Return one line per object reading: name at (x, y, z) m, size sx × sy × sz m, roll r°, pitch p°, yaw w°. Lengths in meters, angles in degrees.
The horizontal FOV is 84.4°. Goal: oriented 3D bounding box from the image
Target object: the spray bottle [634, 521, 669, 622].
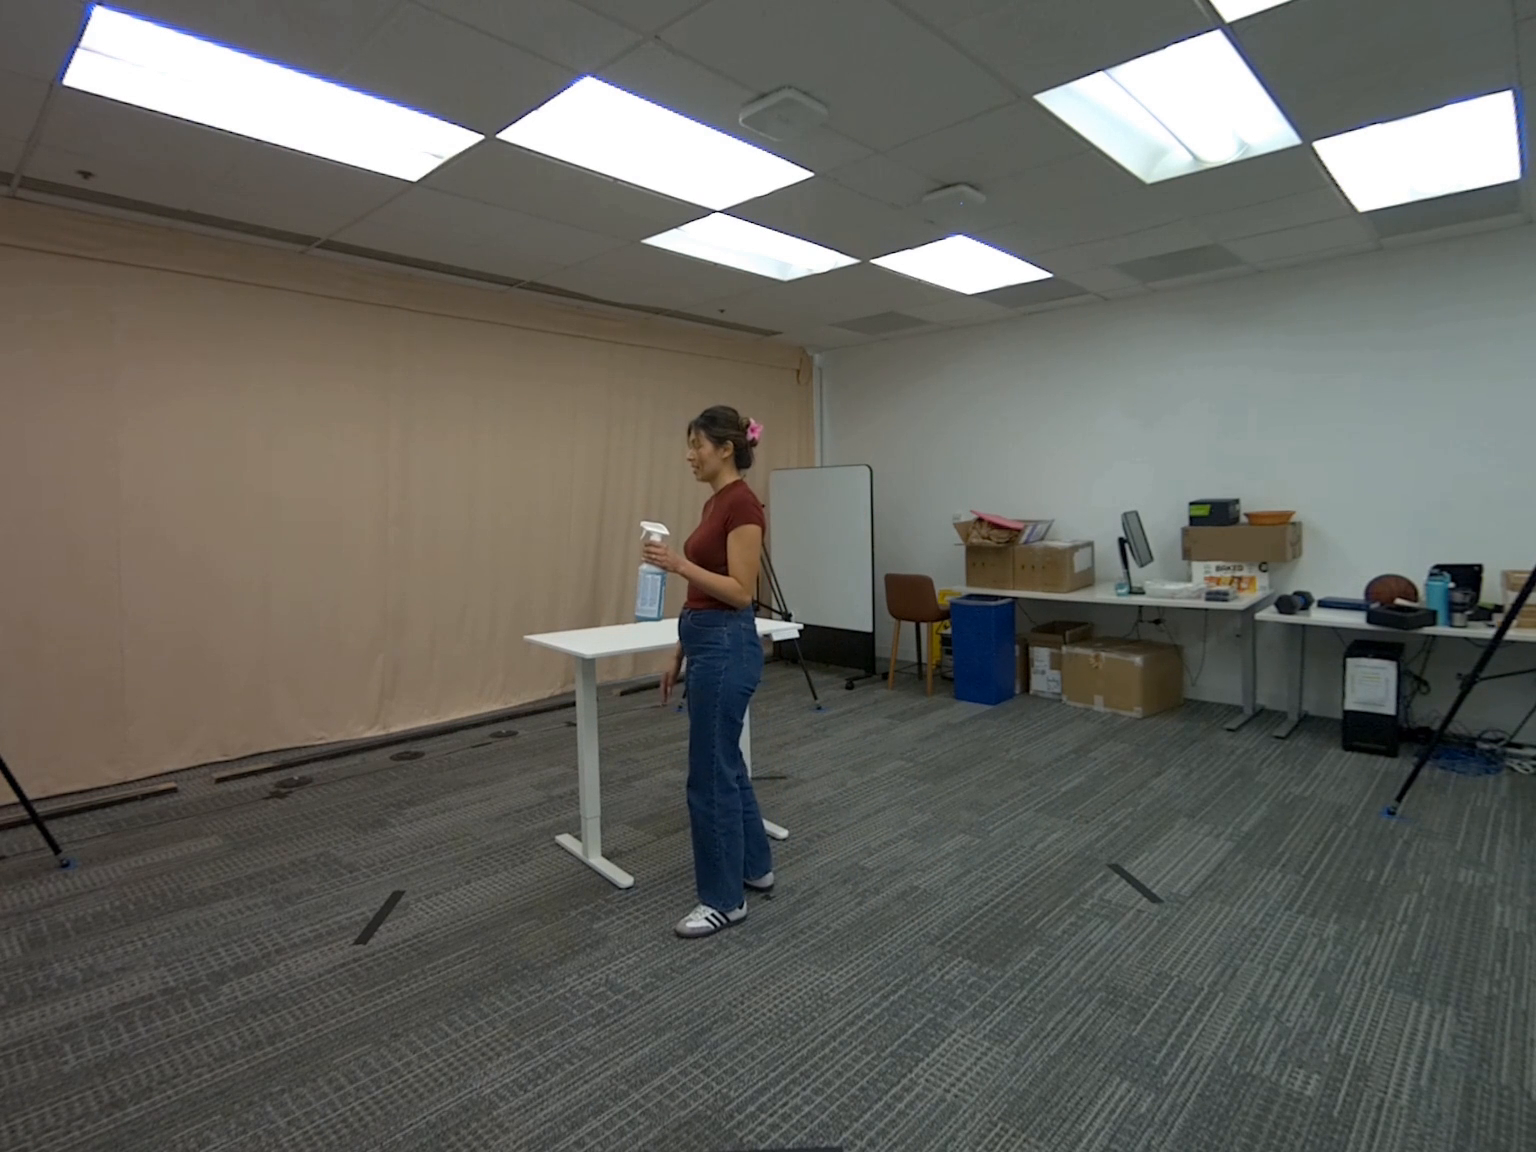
spray bottle at (-0.351, -0.013, 2.555) m, size 0.093 × 0.297 × 0.084 m, roll 8°, pitch 4°, yaw 37°
